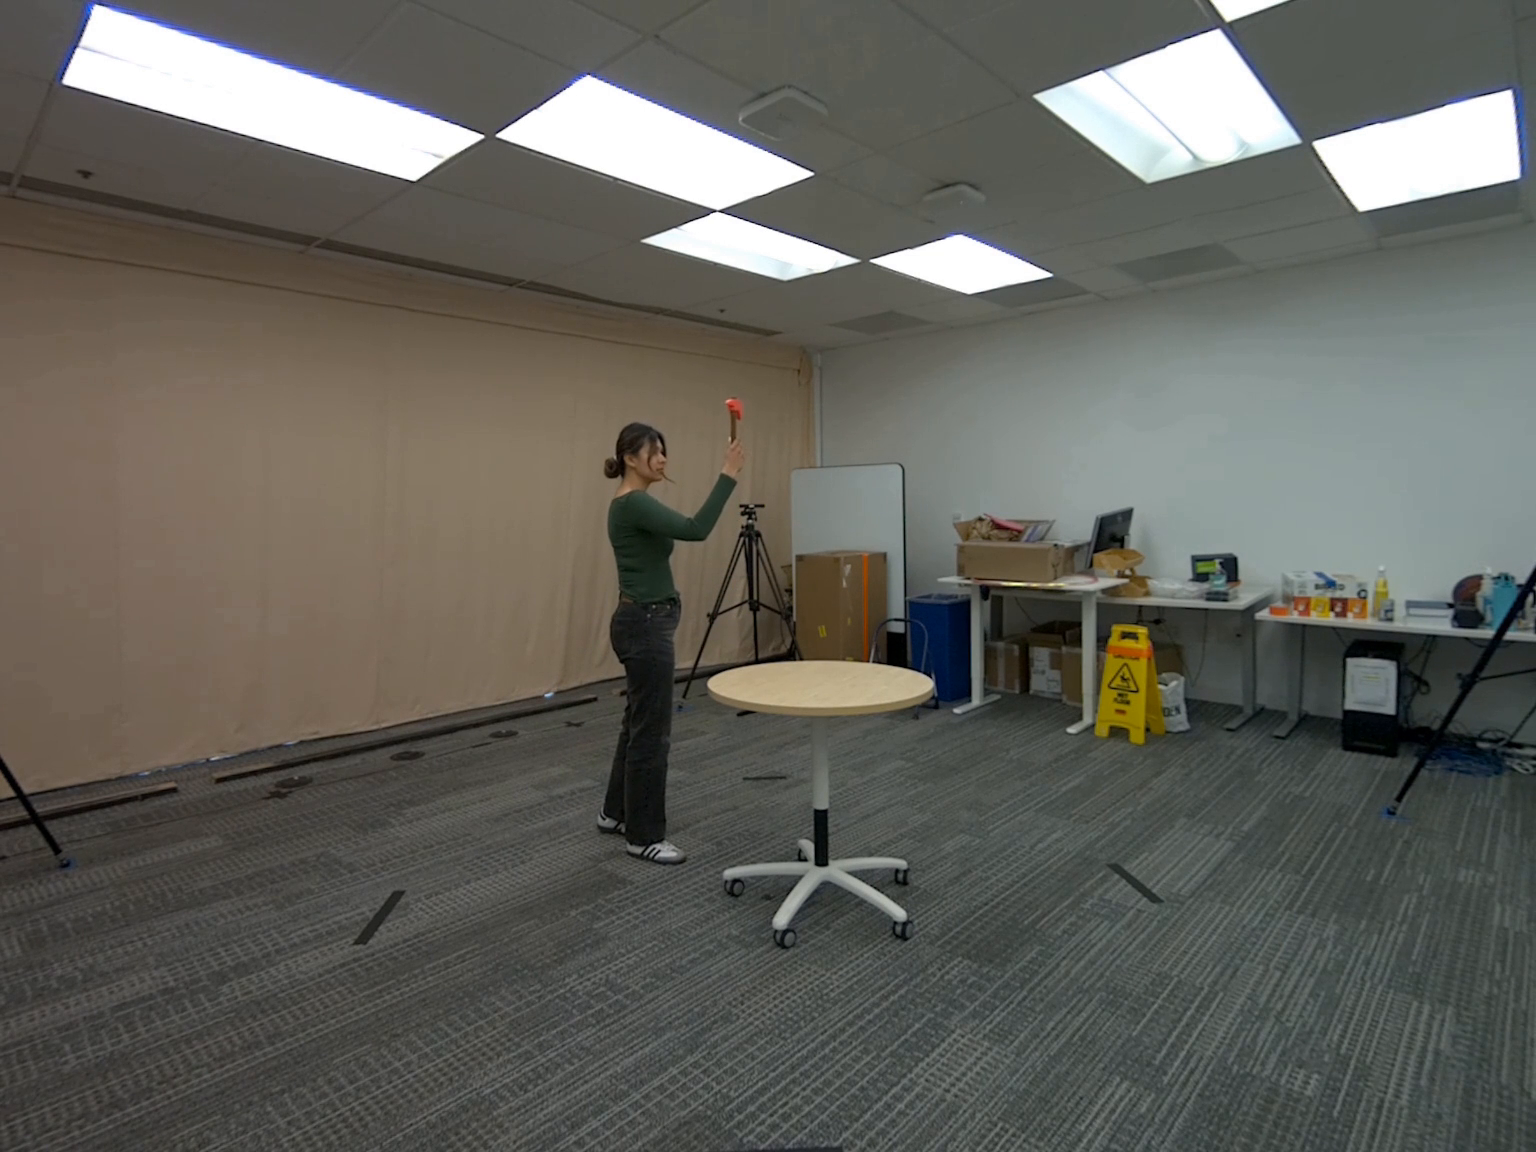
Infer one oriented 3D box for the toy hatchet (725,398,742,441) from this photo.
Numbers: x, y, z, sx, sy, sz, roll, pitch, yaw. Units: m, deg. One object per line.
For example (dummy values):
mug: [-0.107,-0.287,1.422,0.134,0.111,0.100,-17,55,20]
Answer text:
toy hatchet: [-0.111,-0.533,3.135,0.030,0.266,0.130,2,21,20]
